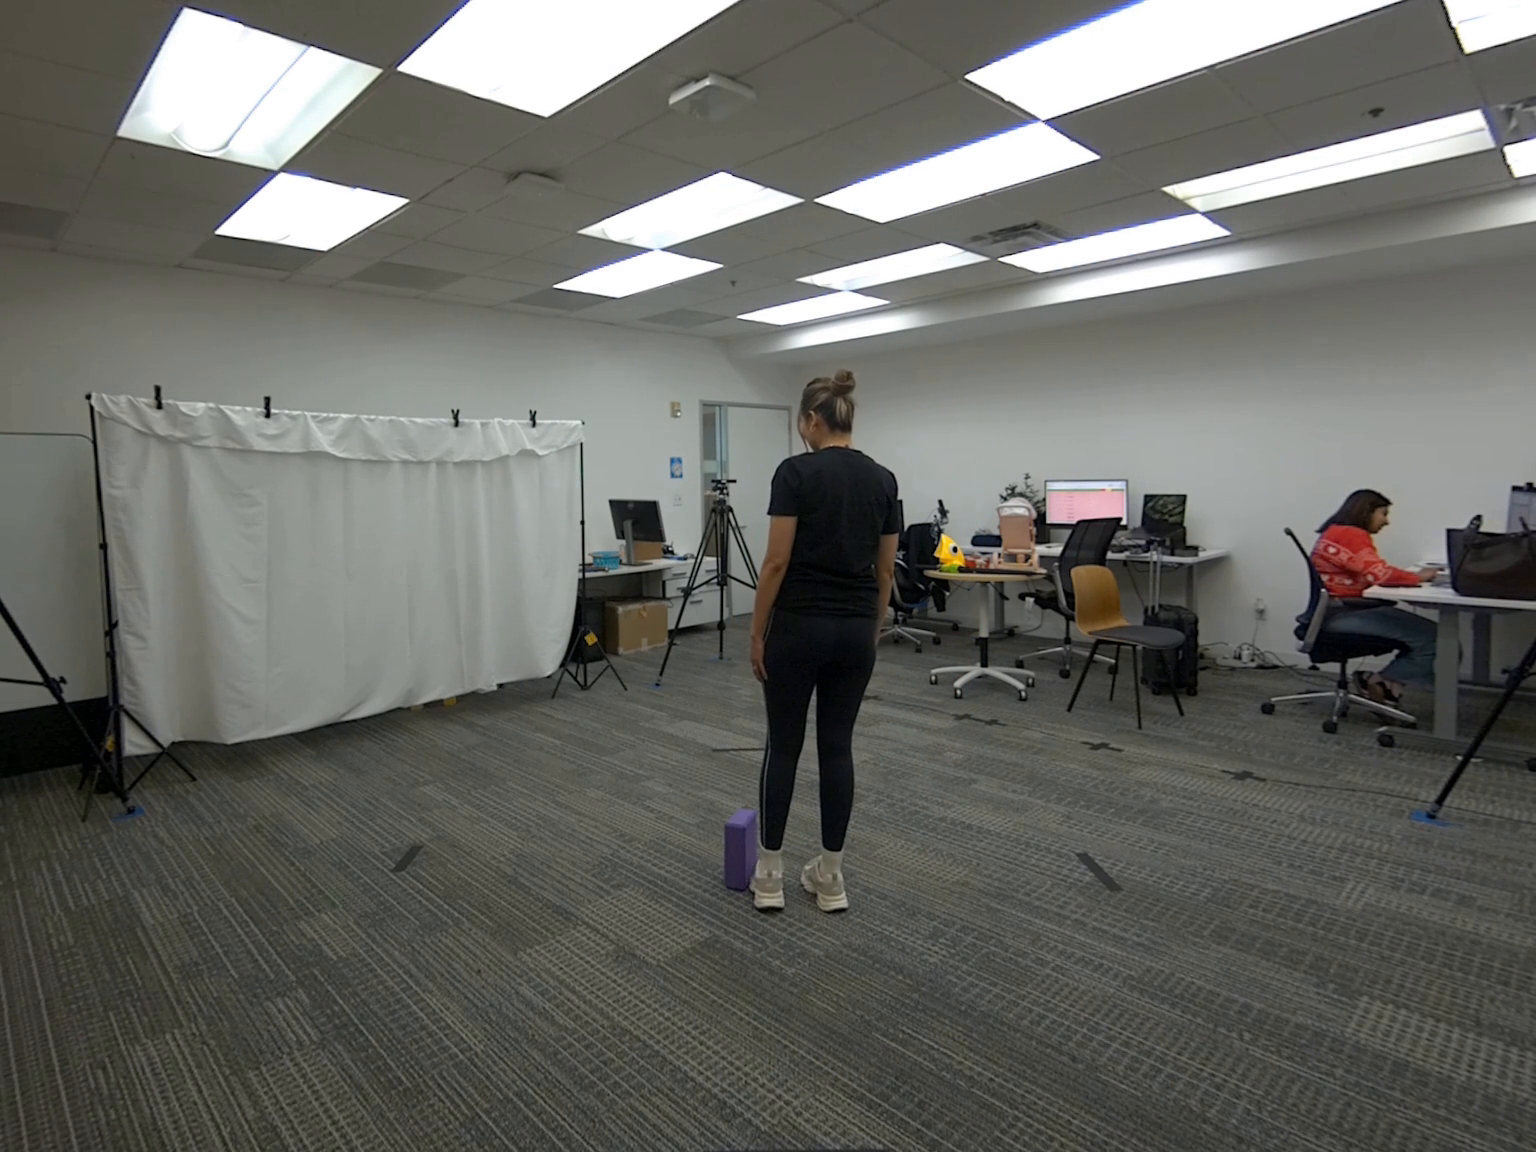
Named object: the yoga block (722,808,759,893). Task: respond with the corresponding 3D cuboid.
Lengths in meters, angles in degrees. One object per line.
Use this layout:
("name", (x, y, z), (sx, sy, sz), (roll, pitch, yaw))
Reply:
("yoga block", (-0.094, 0.946, 2.970), (0.077, 0.228, 0.147), (0, 4, 15))
